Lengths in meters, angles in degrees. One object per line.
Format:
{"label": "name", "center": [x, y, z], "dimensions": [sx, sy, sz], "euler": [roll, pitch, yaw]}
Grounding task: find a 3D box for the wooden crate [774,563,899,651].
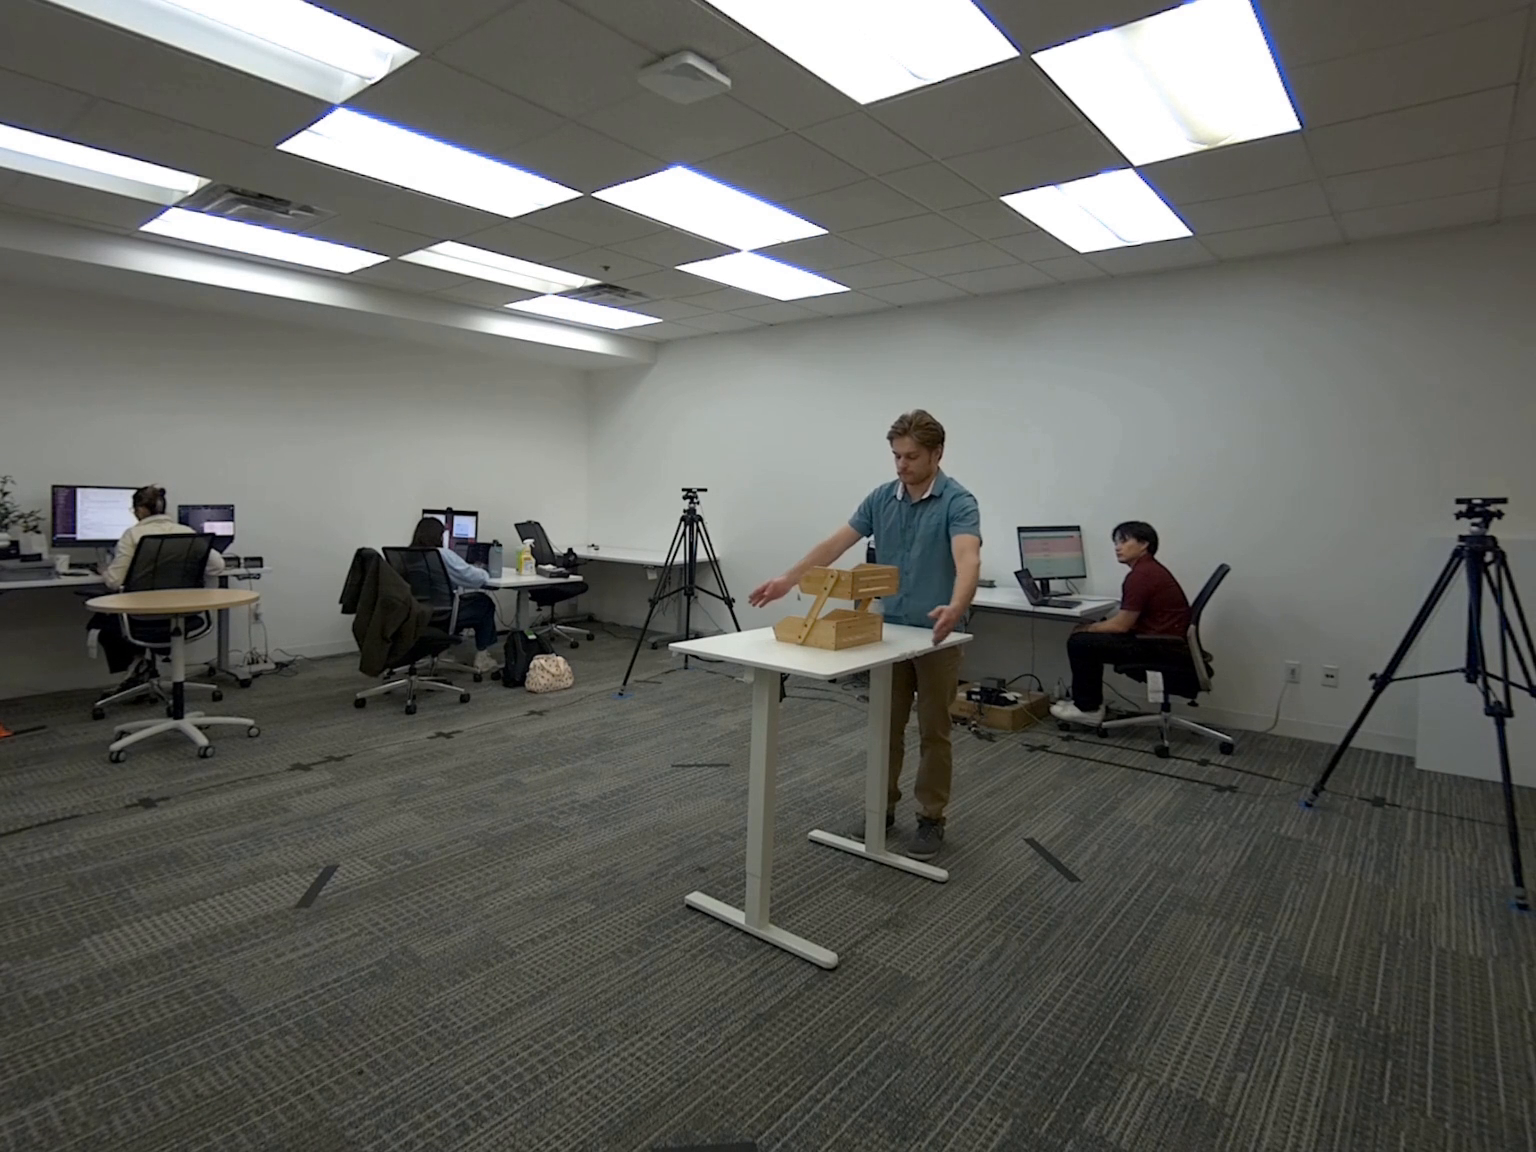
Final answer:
{"label": "wooden crate", "center": [0.219, 0.087, 2.869], "dimensions": [0.312, 0.272, 0.315], "euler": [6, 6, 39]}
